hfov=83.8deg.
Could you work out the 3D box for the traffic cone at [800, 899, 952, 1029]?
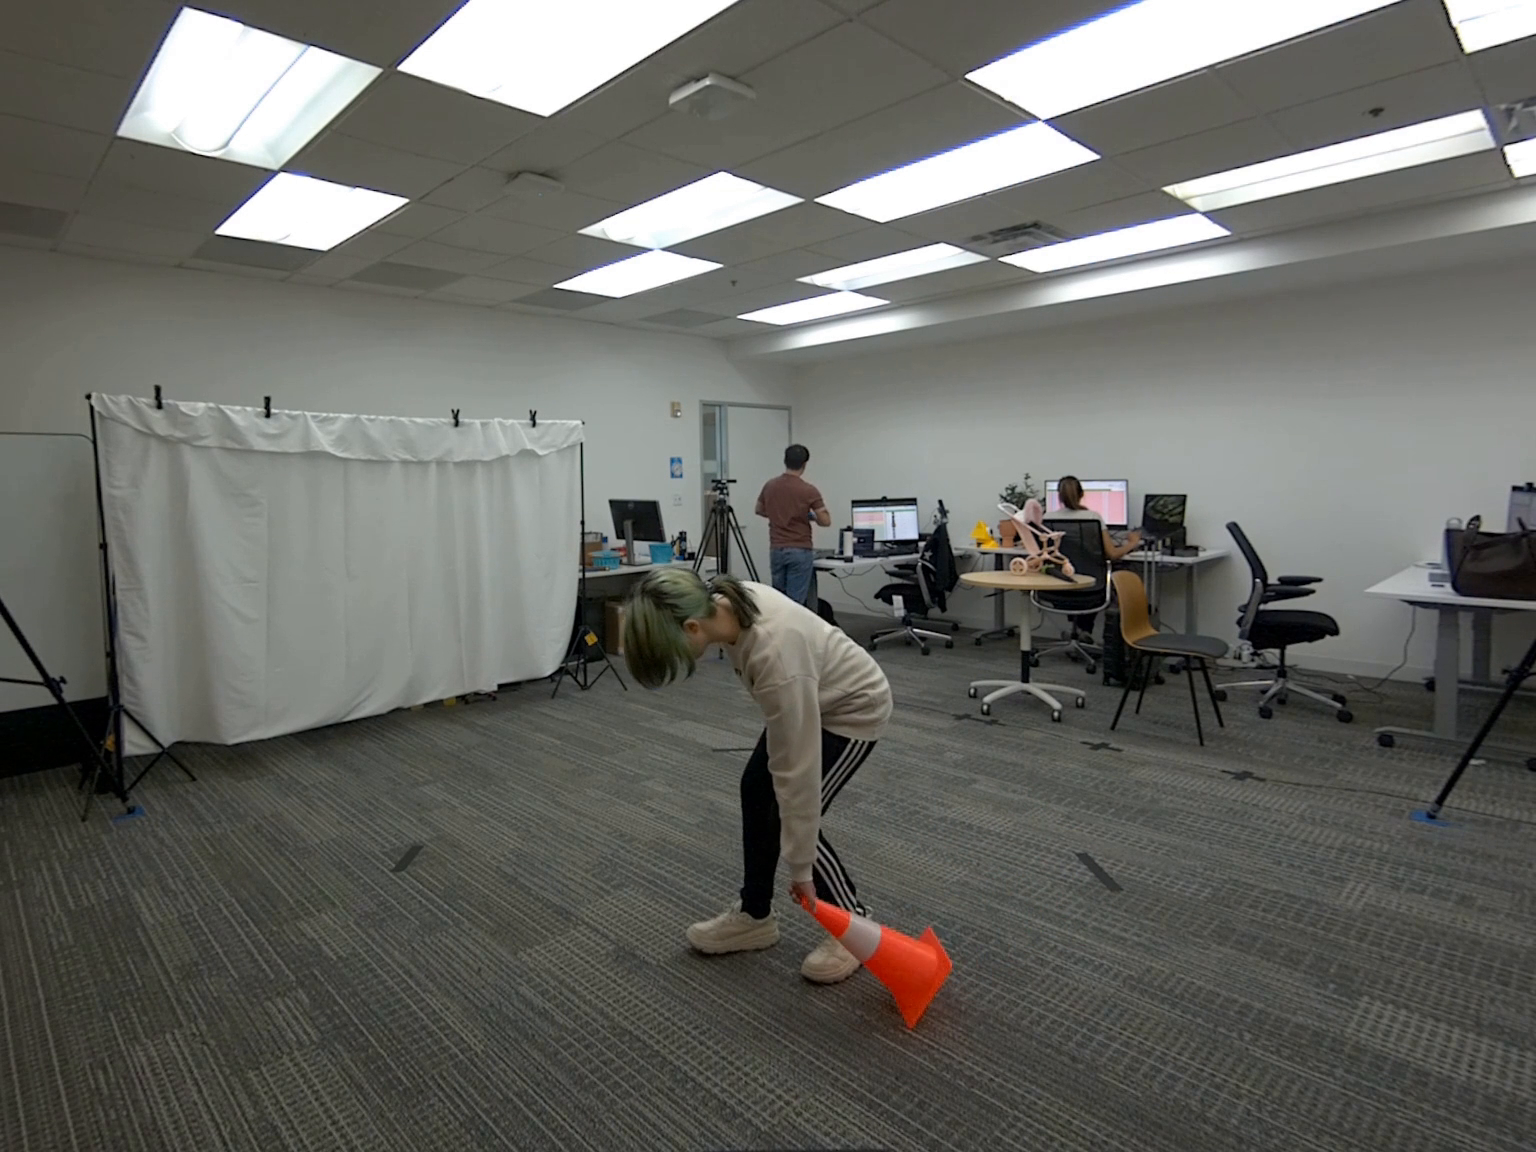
[{"bbox_3d":[0.251,0.950,2.230,0.381,0.203,0.206,35,2,-6],"label":"traffic cone"}]
